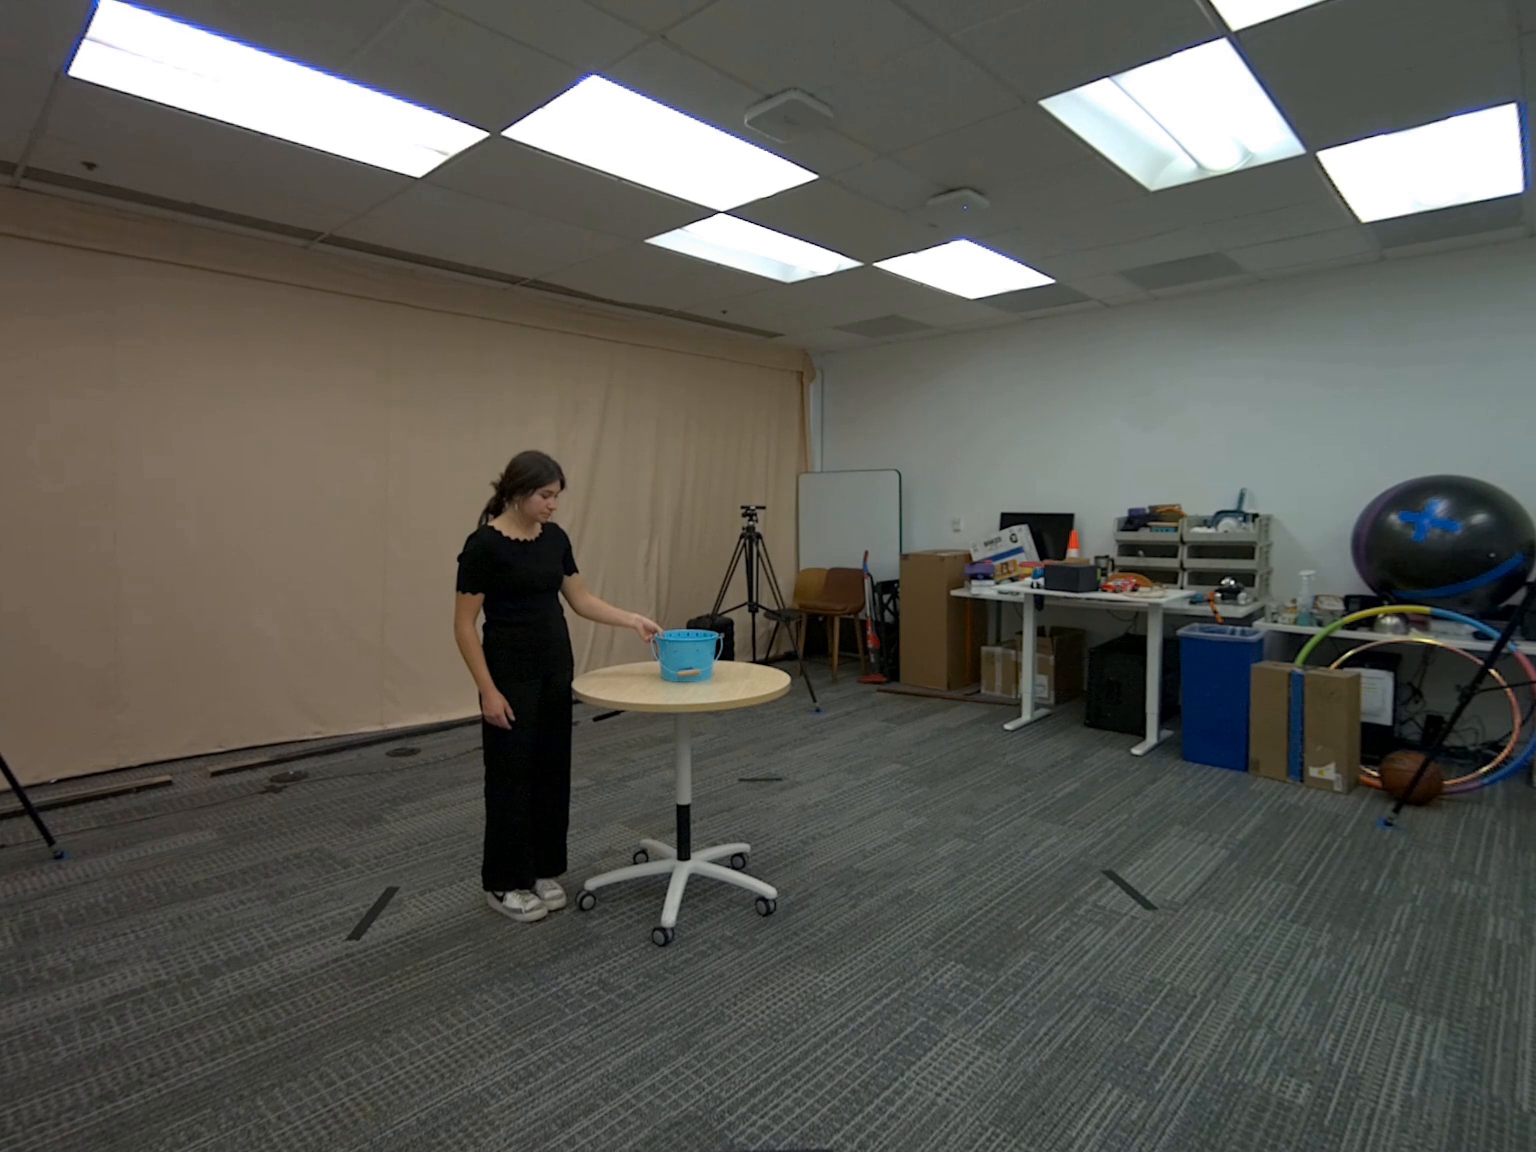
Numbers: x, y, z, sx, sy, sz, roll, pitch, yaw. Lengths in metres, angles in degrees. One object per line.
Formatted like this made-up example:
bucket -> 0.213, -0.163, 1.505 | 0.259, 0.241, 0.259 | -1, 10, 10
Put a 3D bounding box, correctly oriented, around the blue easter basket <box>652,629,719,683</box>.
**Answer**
blue easter basket -> -0.293, 0.289, 2.989 | 0.243, 0.155, 0.244 | -1, 4, -2
